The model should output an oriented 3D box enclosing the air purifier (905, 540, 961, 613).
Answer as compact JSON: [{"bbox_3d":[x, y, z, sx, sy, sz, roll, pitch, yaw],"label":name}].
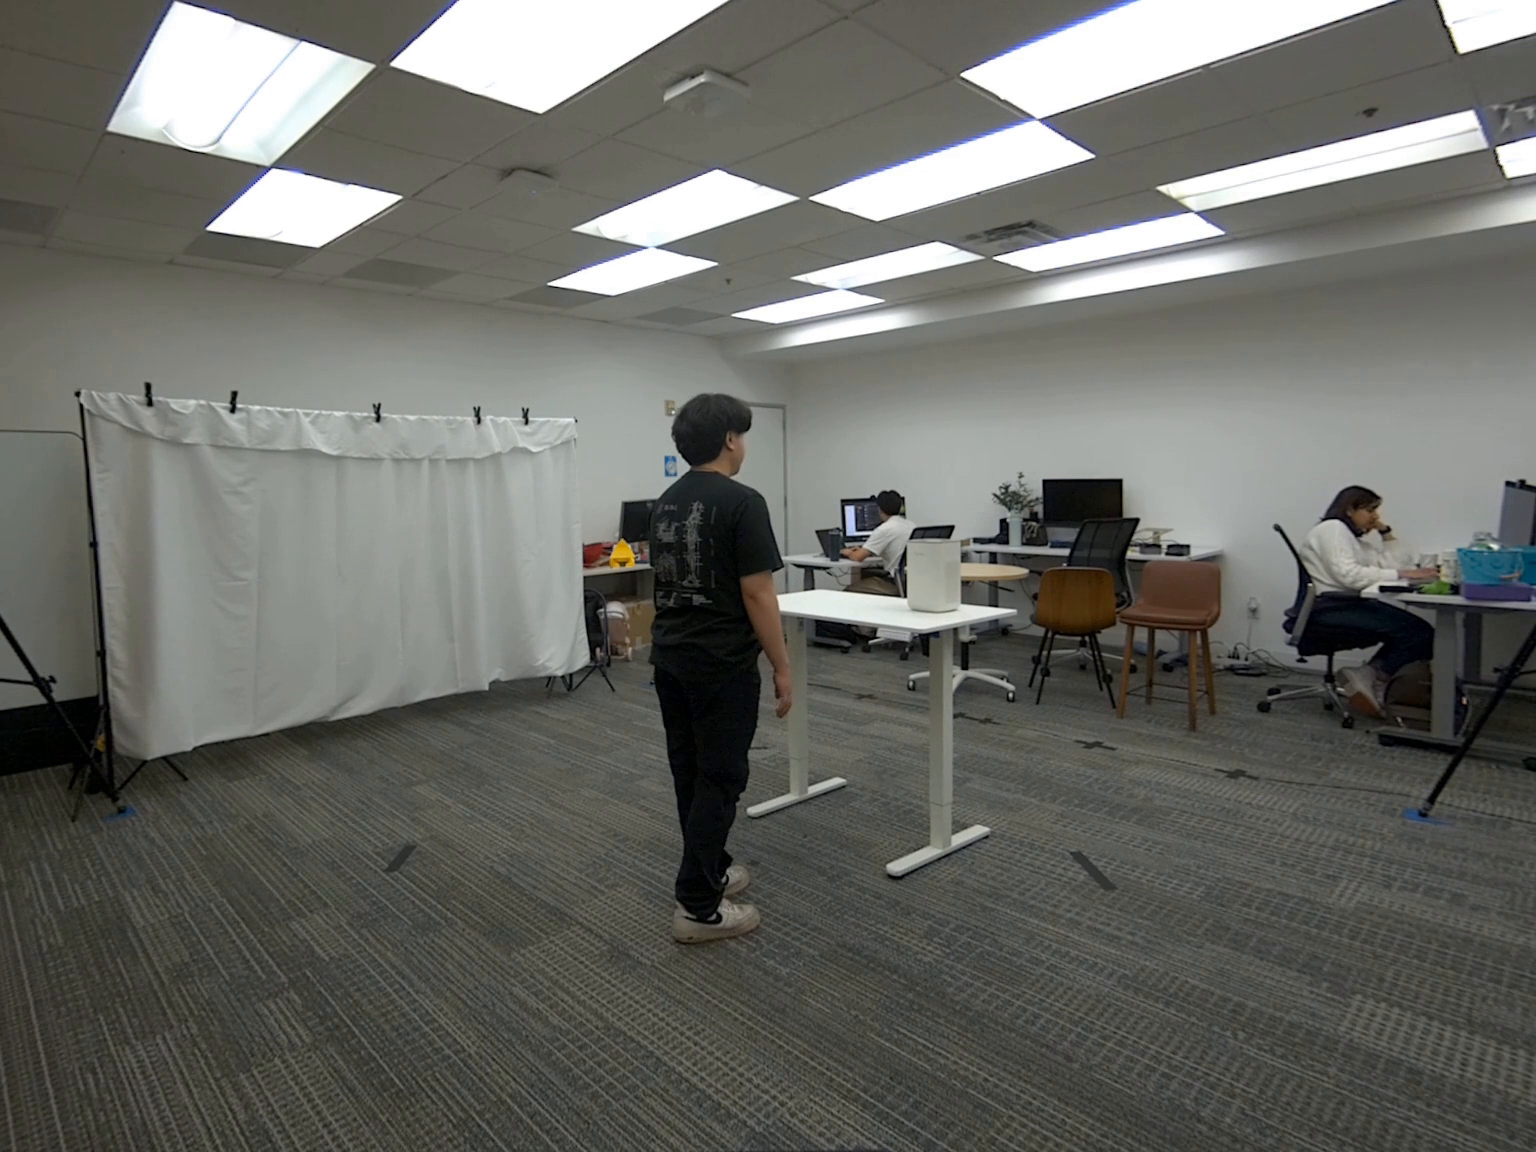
[{"bbox_3d":[0.637,-0.004,3.248,0.167,0.265,0.176,-2,3,-42],"label":"air purifier"}]
